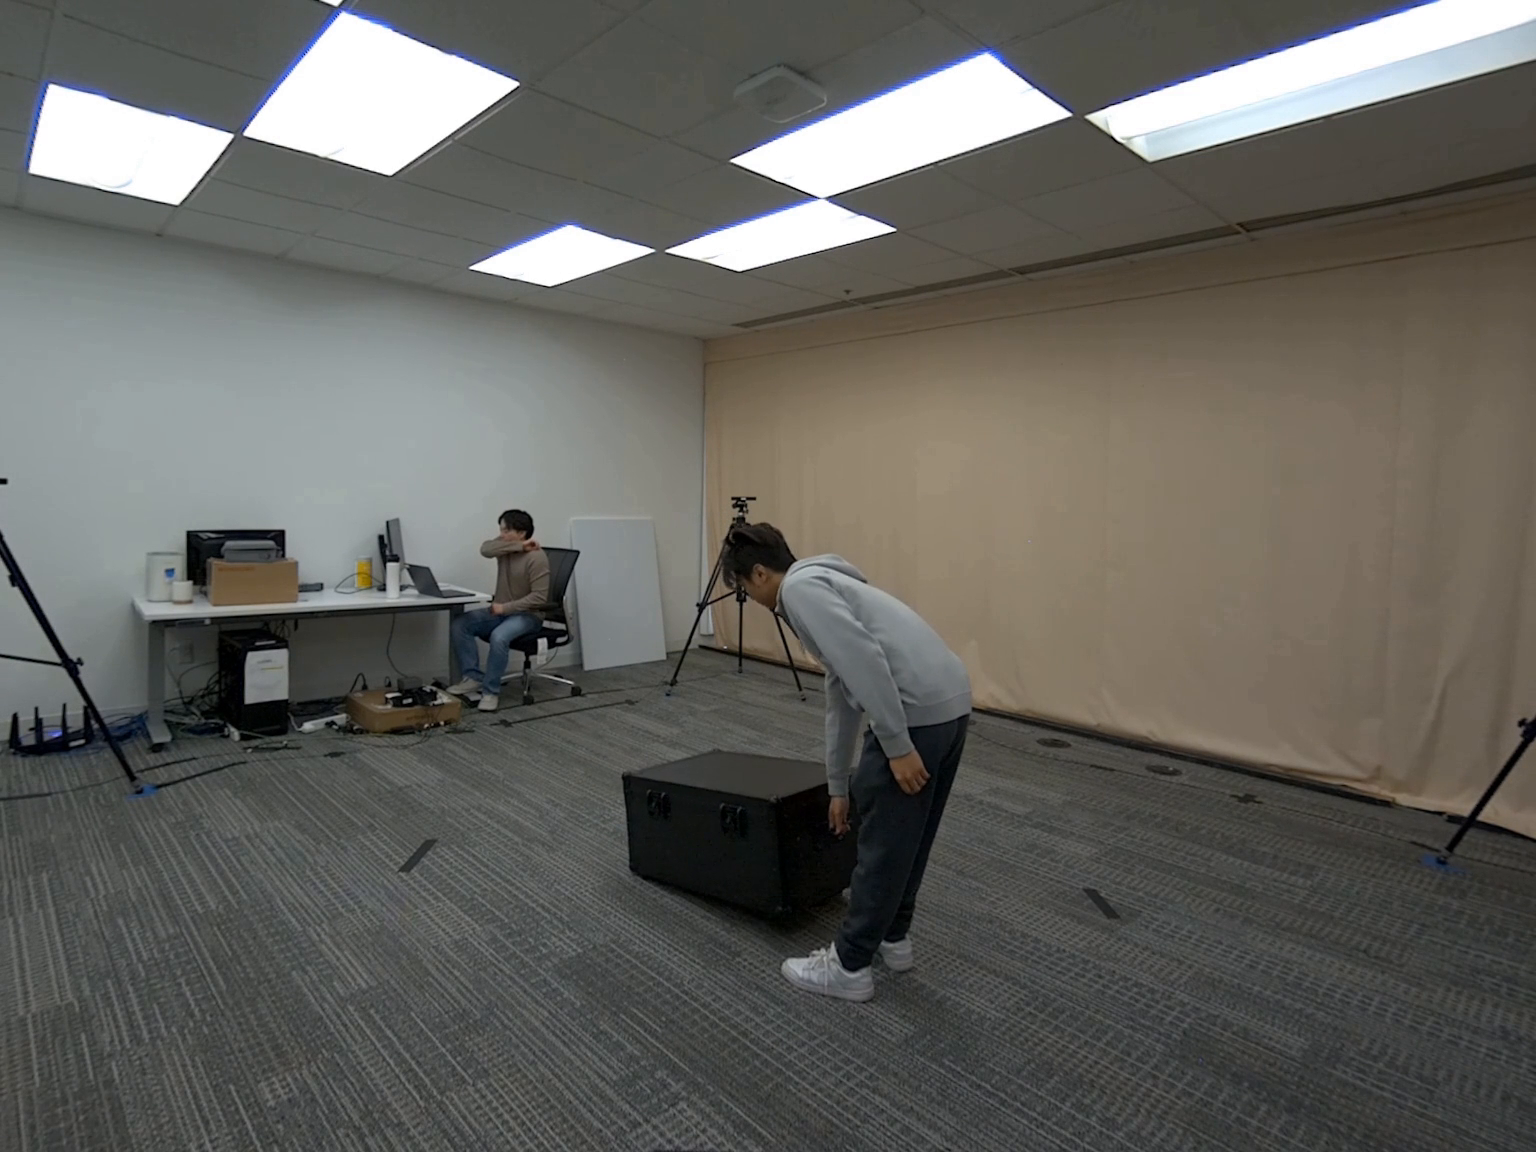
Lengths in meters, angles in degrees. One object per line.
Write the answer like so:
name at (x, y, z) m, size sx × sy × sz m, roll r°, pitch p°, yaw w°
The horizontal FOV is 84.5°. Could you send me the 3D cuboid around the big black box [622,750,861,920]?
big black box at (-0.106, 0.882, 3.020) m, size 0.509 × 0.397 × 0.880 m, roll -3°, pitch -1°, yaw -45°
